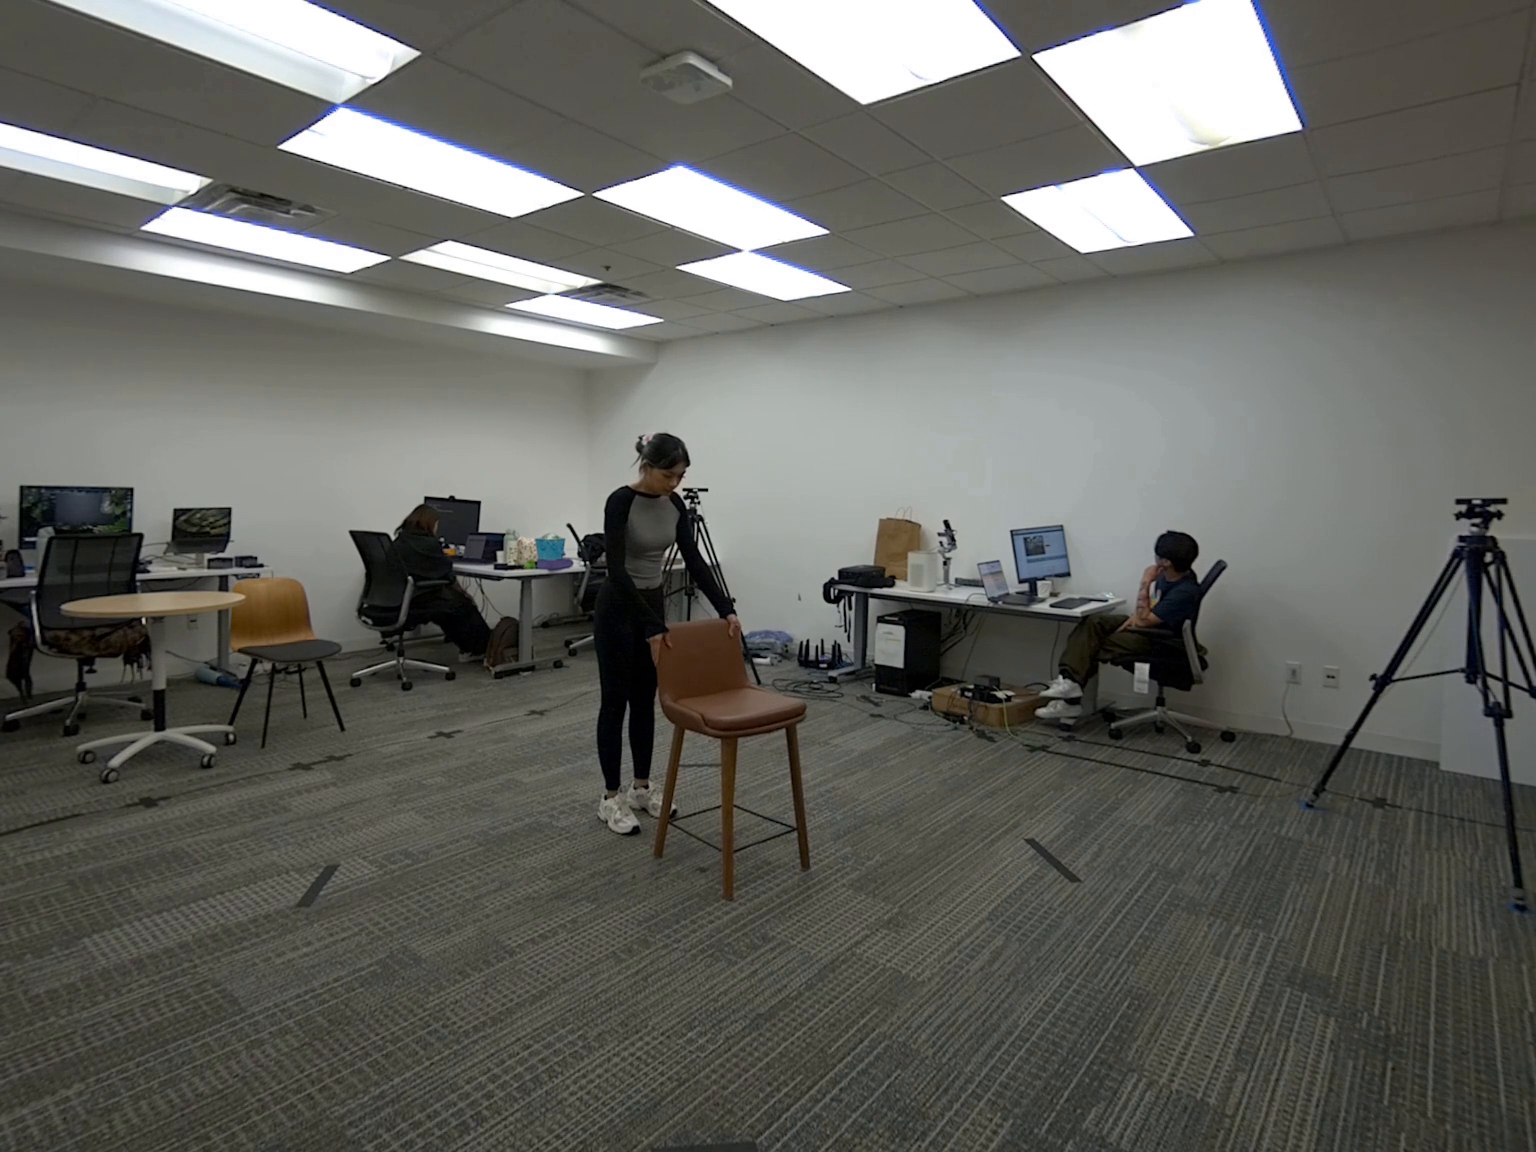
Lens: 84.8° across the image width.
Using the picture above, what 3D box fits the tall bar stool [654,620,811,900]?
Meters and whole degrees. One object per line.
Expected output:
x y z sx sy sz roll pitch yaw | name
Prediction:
-0.150 0.628 3.154 0.443 0.889 0.482 -2 2 -43 | tall bar stool
